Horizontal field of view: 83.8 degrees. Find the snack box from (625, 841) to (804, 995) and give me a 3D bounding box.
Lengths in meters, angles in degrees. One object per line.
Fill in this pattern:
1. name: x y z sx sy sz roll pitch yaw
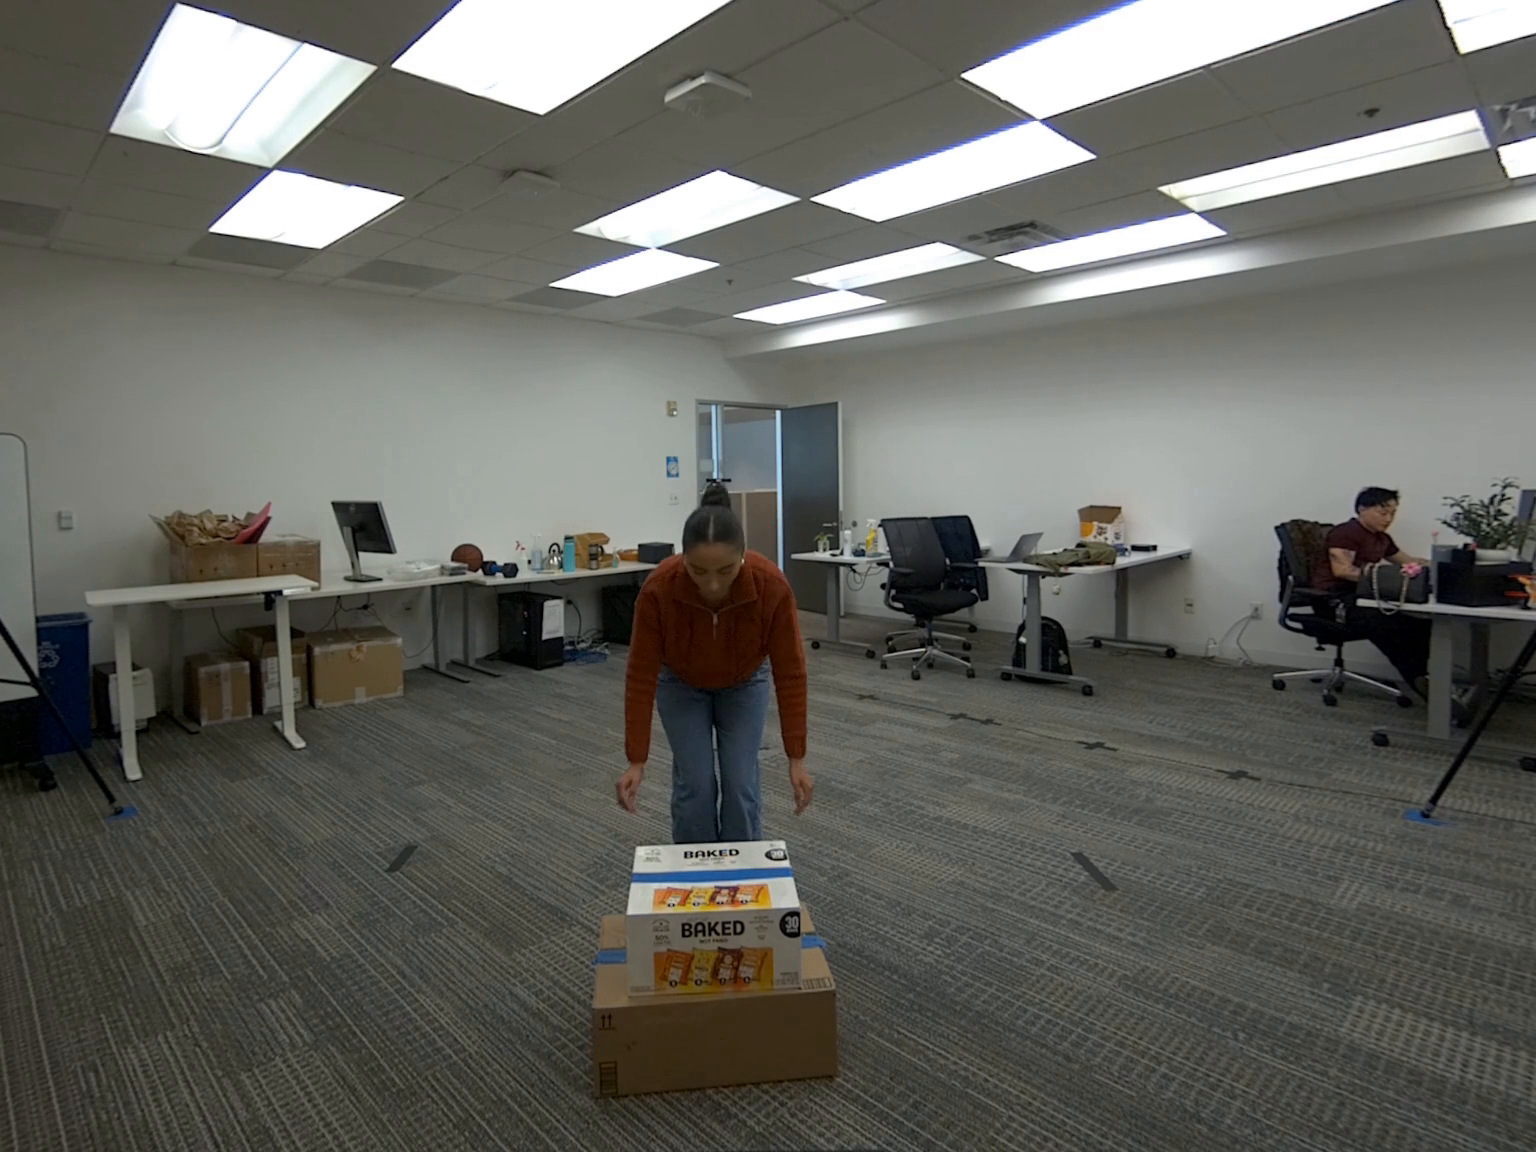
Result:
1. snack box: -0.135 0.845 2.130 0.404 0.204 0.344 -2 8 -4
